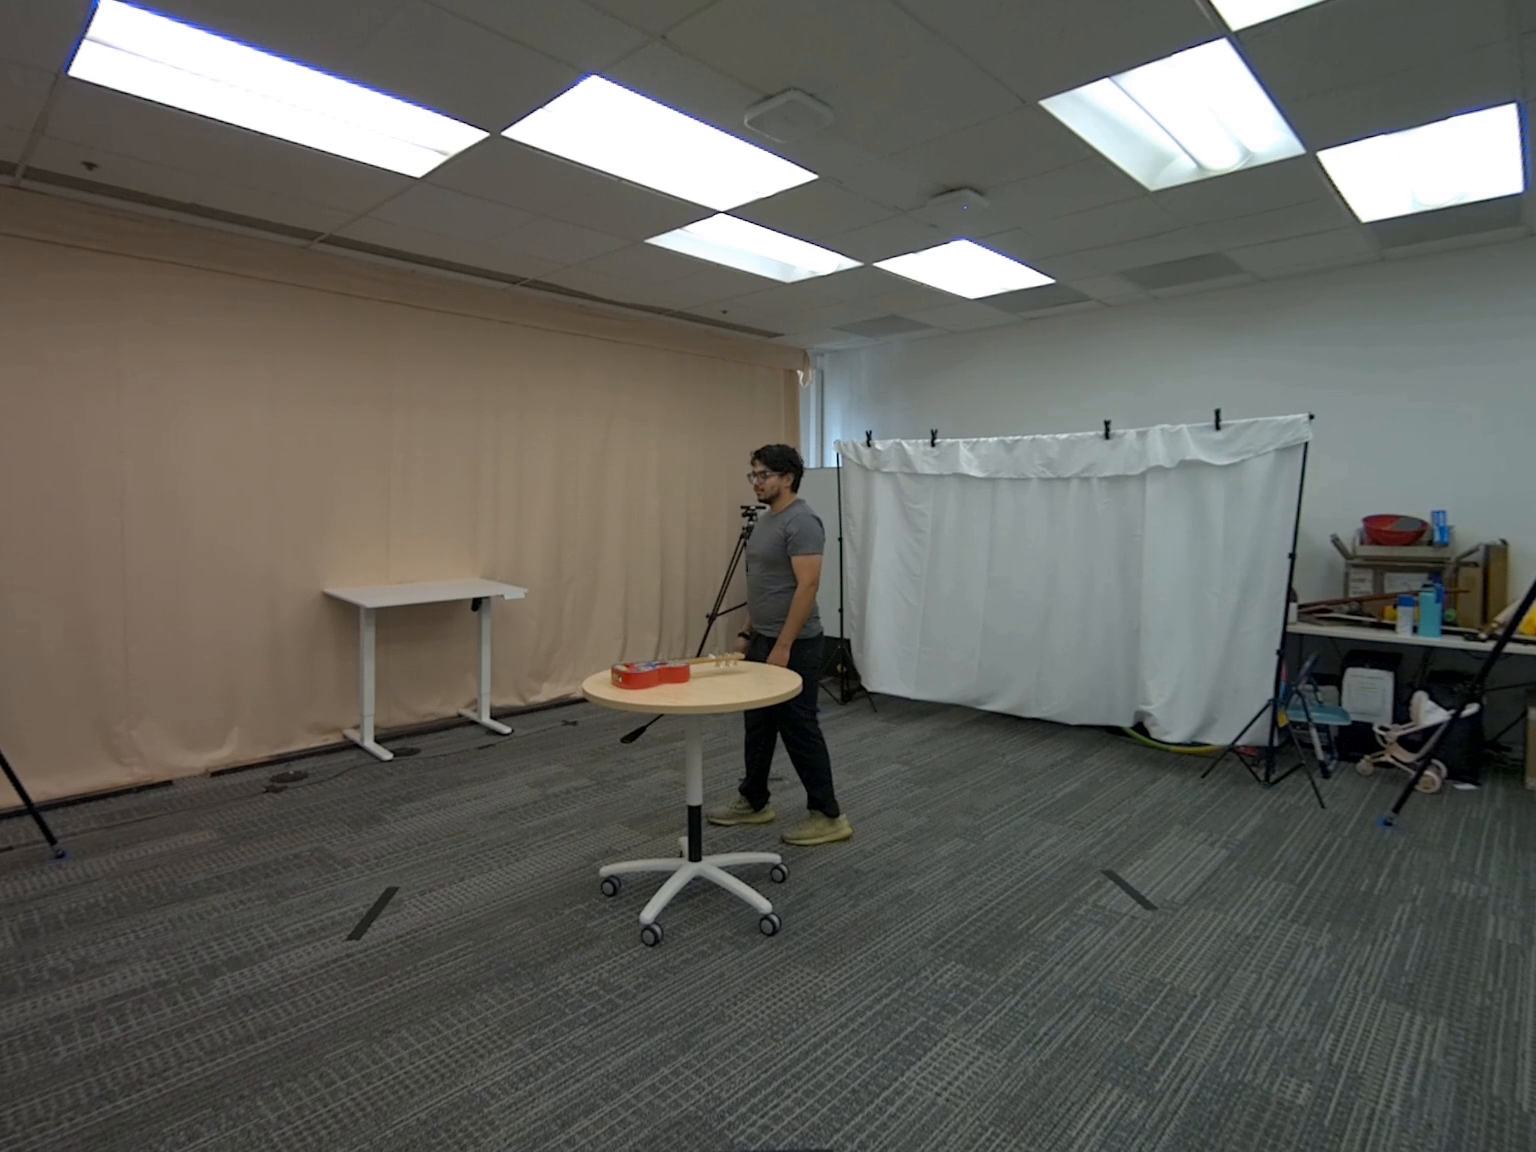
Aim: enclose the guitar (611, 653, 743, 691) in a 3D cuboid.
[{"bbox_3d":[-0.300,0.333,2.949,0.489,0.070,0.197,-3,5,-17],"label":"guitar"}]
